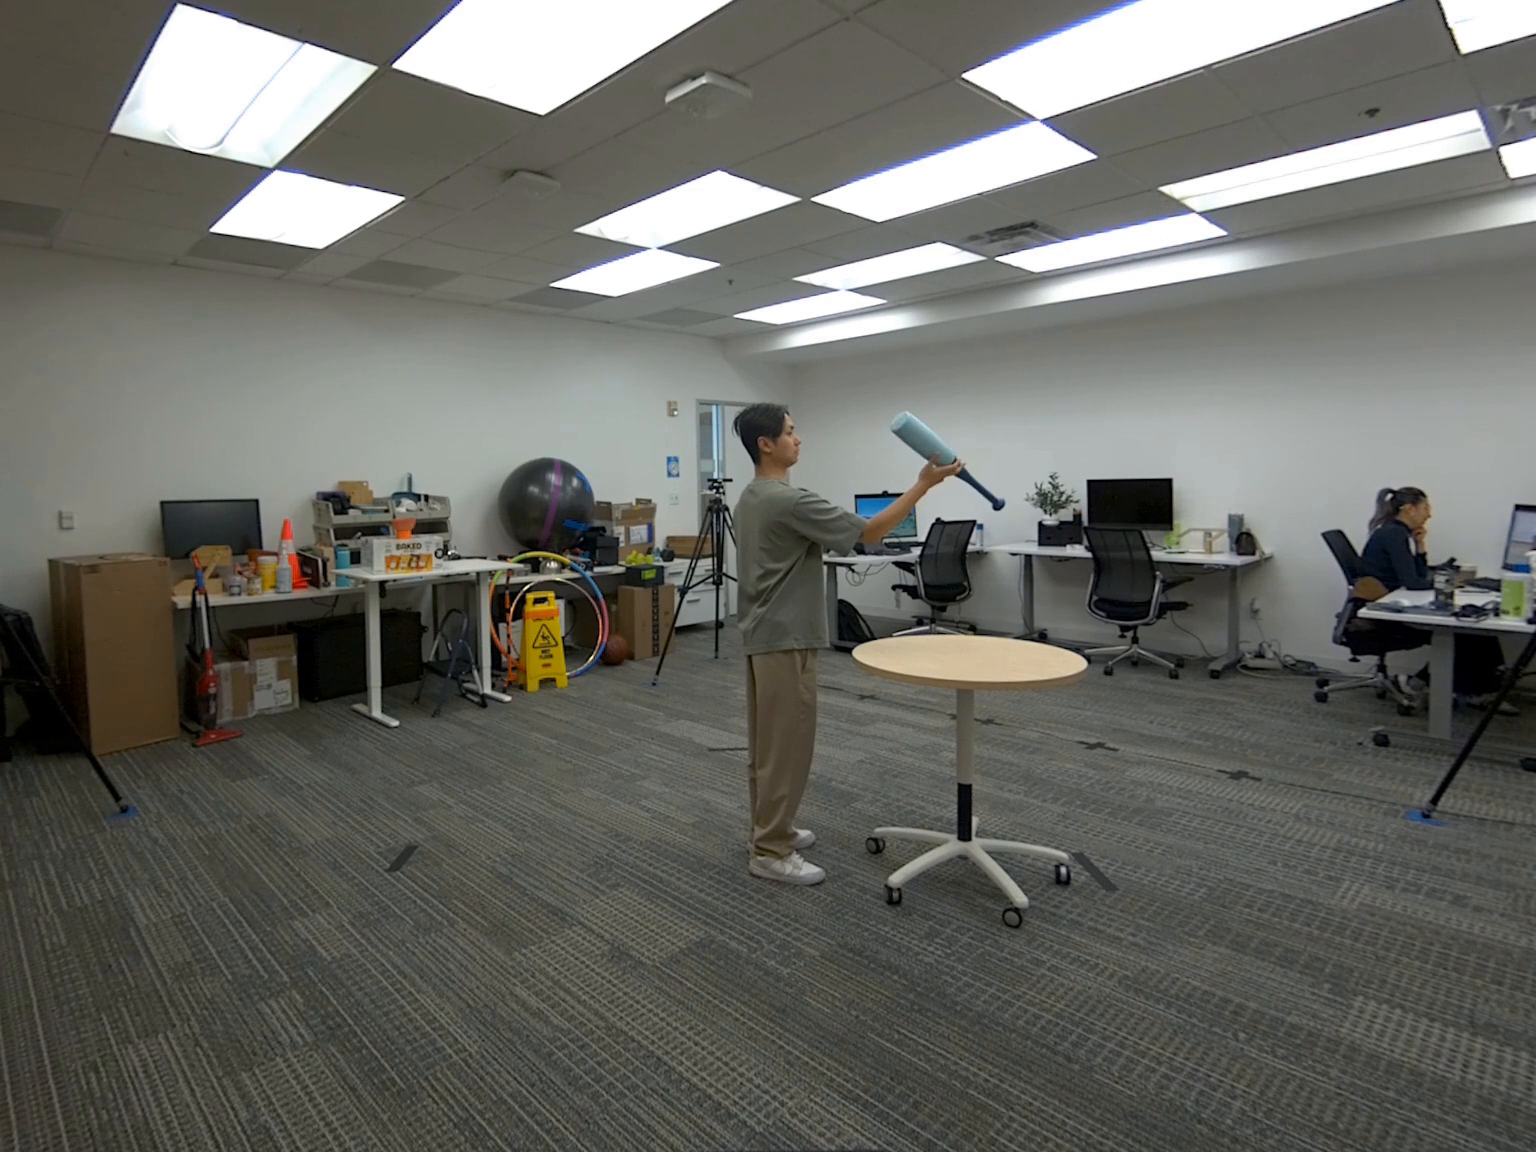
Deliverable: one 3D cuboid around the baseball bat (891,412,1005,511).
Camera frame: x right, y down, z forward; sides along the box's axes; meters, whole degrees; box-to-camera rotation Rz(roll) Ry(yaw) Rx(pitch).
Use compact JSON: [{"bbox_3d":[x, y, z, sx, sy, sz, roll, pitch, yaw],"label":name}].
[{"bbox_3d":[0.636,-0.389,2.983,0.529,0.089,0.091,33,-10,-21],"label":"baseball bat"}]
